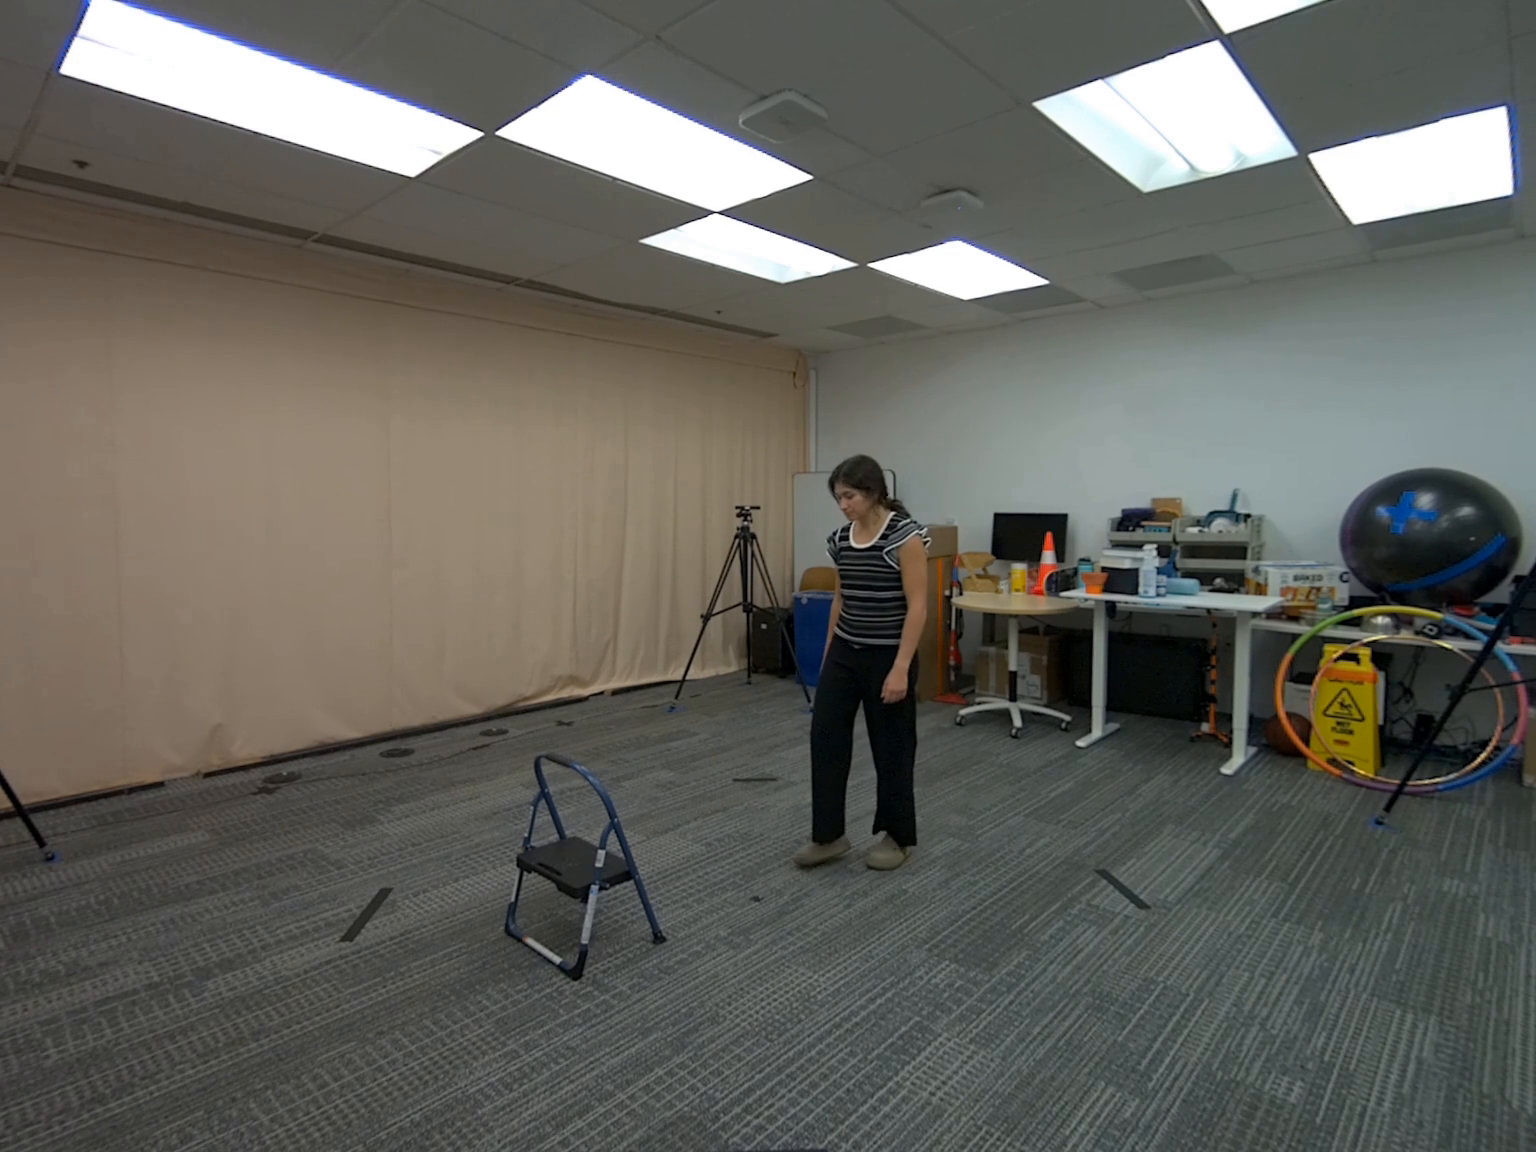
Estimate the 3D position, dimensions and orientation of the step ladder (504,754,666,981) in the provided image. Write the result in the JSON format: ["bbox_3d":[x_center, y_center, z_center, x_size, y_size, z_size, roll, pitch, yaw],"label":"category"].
[{"bbox_3d":[-0.600,0.871,2.717,0.445,0.605,0.338,2,4,43],"label":"step ladder"}]
